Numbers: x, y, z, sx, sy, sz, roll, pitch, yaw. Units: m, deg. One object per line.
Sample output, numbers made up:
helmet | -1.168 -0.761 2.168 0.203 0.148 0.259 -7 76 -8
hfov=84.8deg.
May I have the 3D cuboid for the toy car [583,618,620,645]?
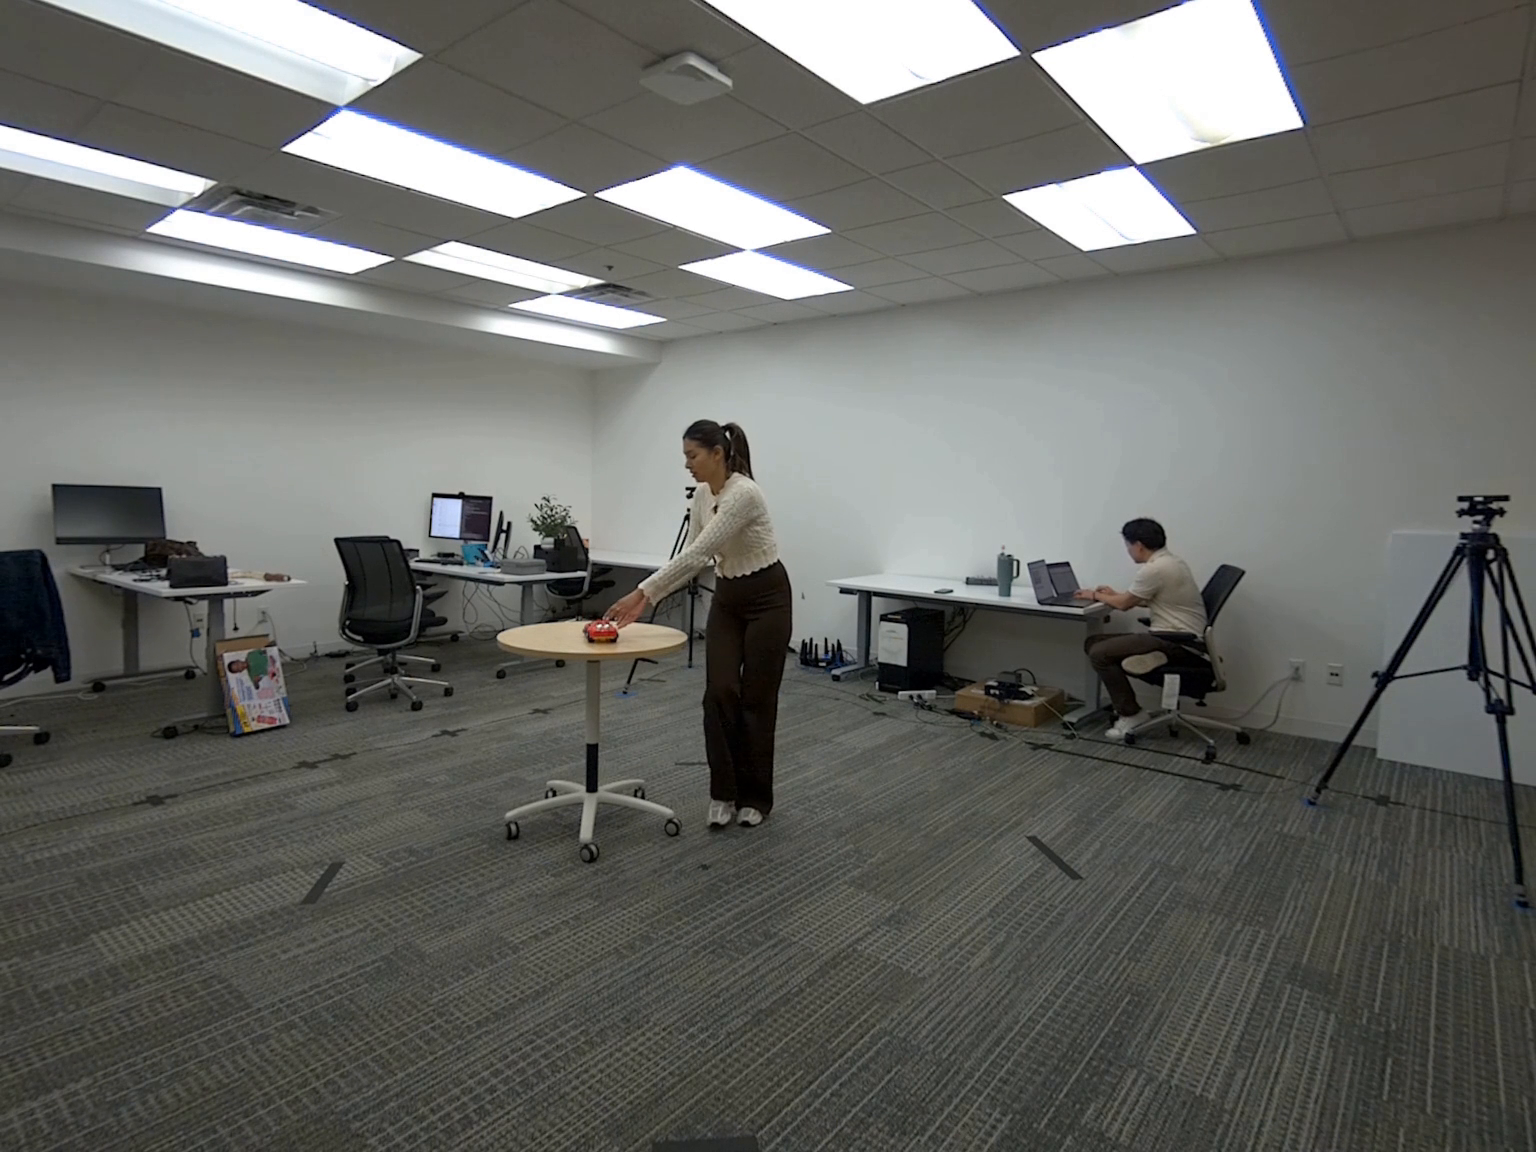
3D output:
toy car | -0.673 0.216 3.369 0.128 0.084 0.257 1 -6 -16
